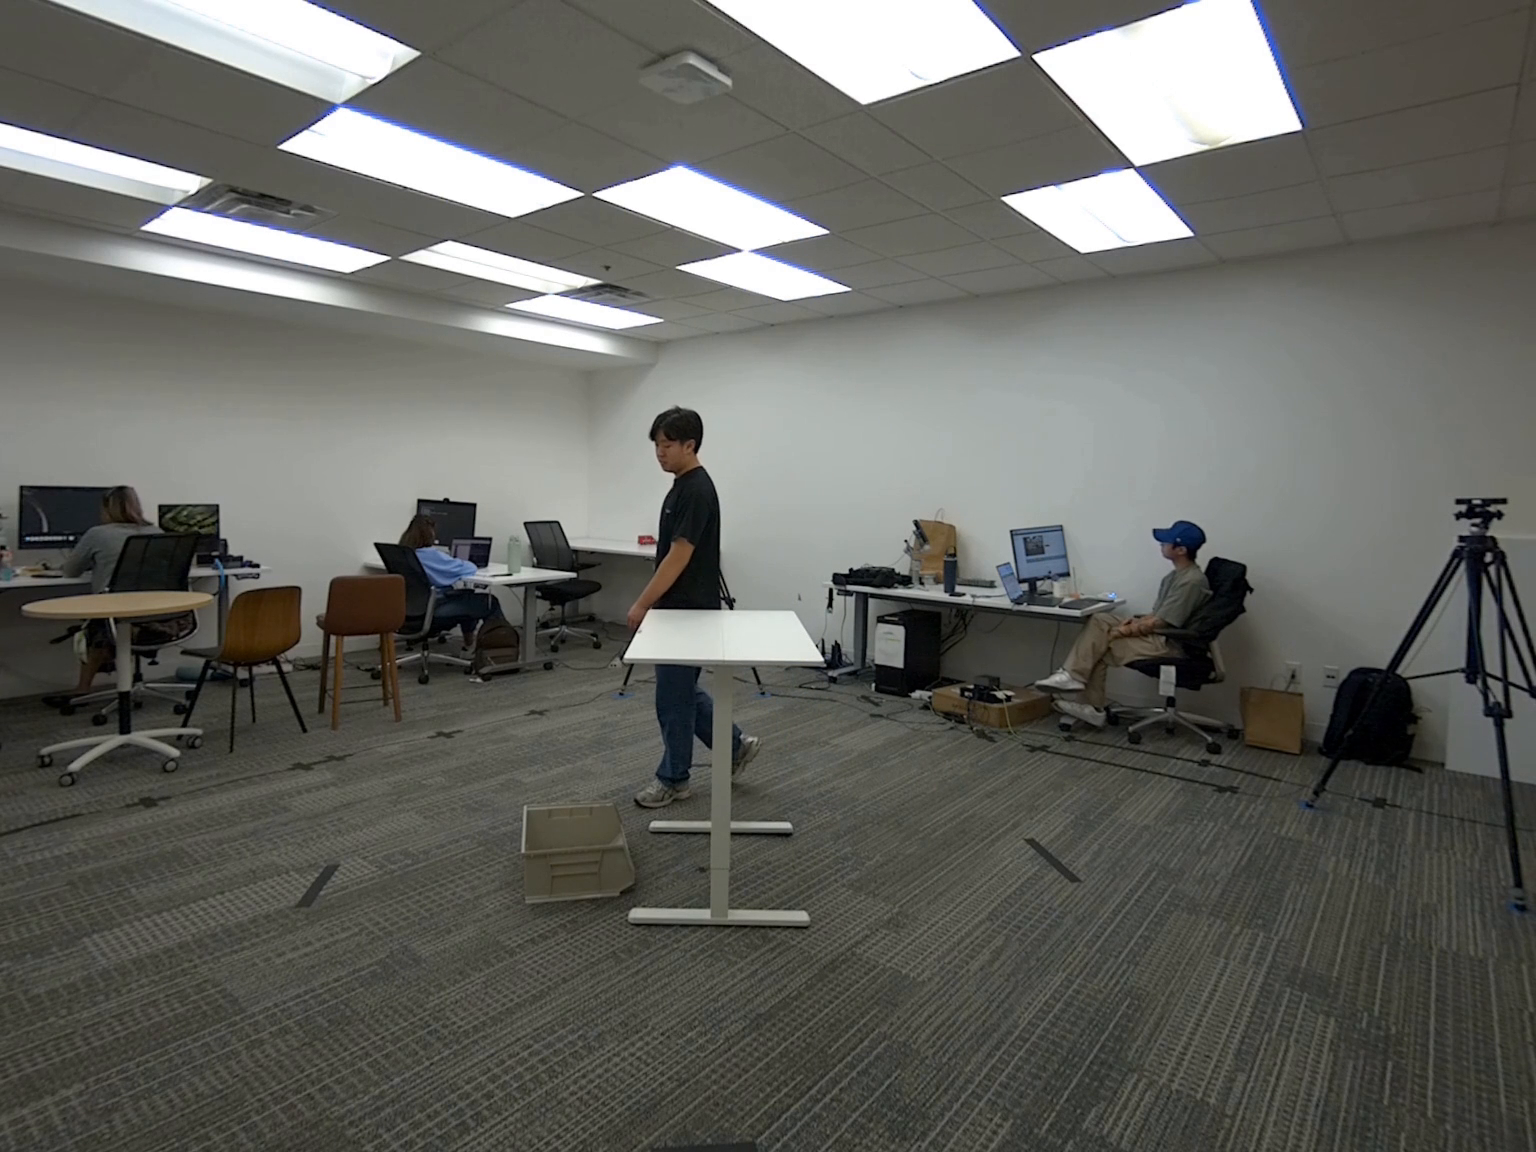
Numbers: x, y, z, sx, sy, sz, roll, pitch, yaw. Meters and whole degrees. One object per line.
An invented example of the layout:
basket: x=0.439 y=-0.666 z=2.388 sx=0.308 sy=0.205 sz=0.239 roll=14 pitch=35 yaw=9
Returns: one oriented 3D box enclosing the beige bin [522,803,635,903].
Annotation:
beige bin: x=-0.700 y=0.979 z=3.056 sx=0.372 sy=0.188 sz=0.430 roll=-1 pitch=6 yaw=-14
